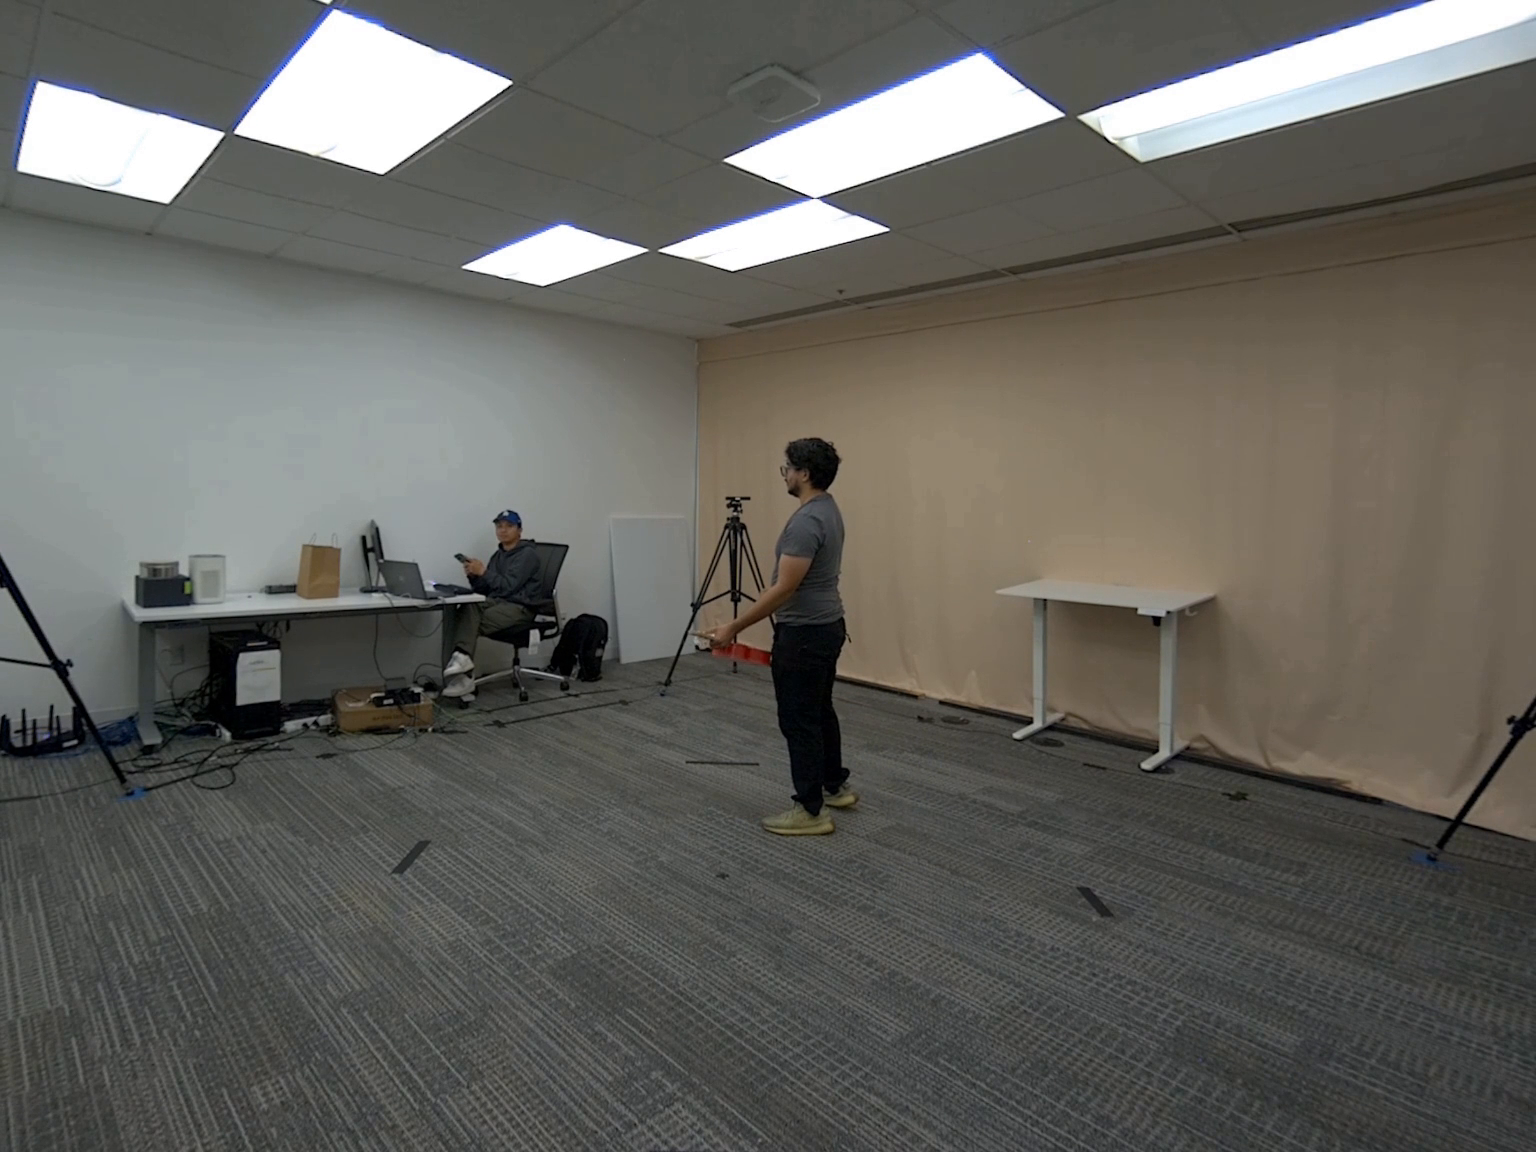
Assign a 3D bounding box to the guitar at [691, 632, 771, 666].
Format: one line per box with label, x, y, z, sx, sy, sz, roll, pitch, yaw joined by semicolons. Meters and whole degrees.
guitar;-0.194;0.295;3.406;0.198;0.071;0.483;3;-11;41
